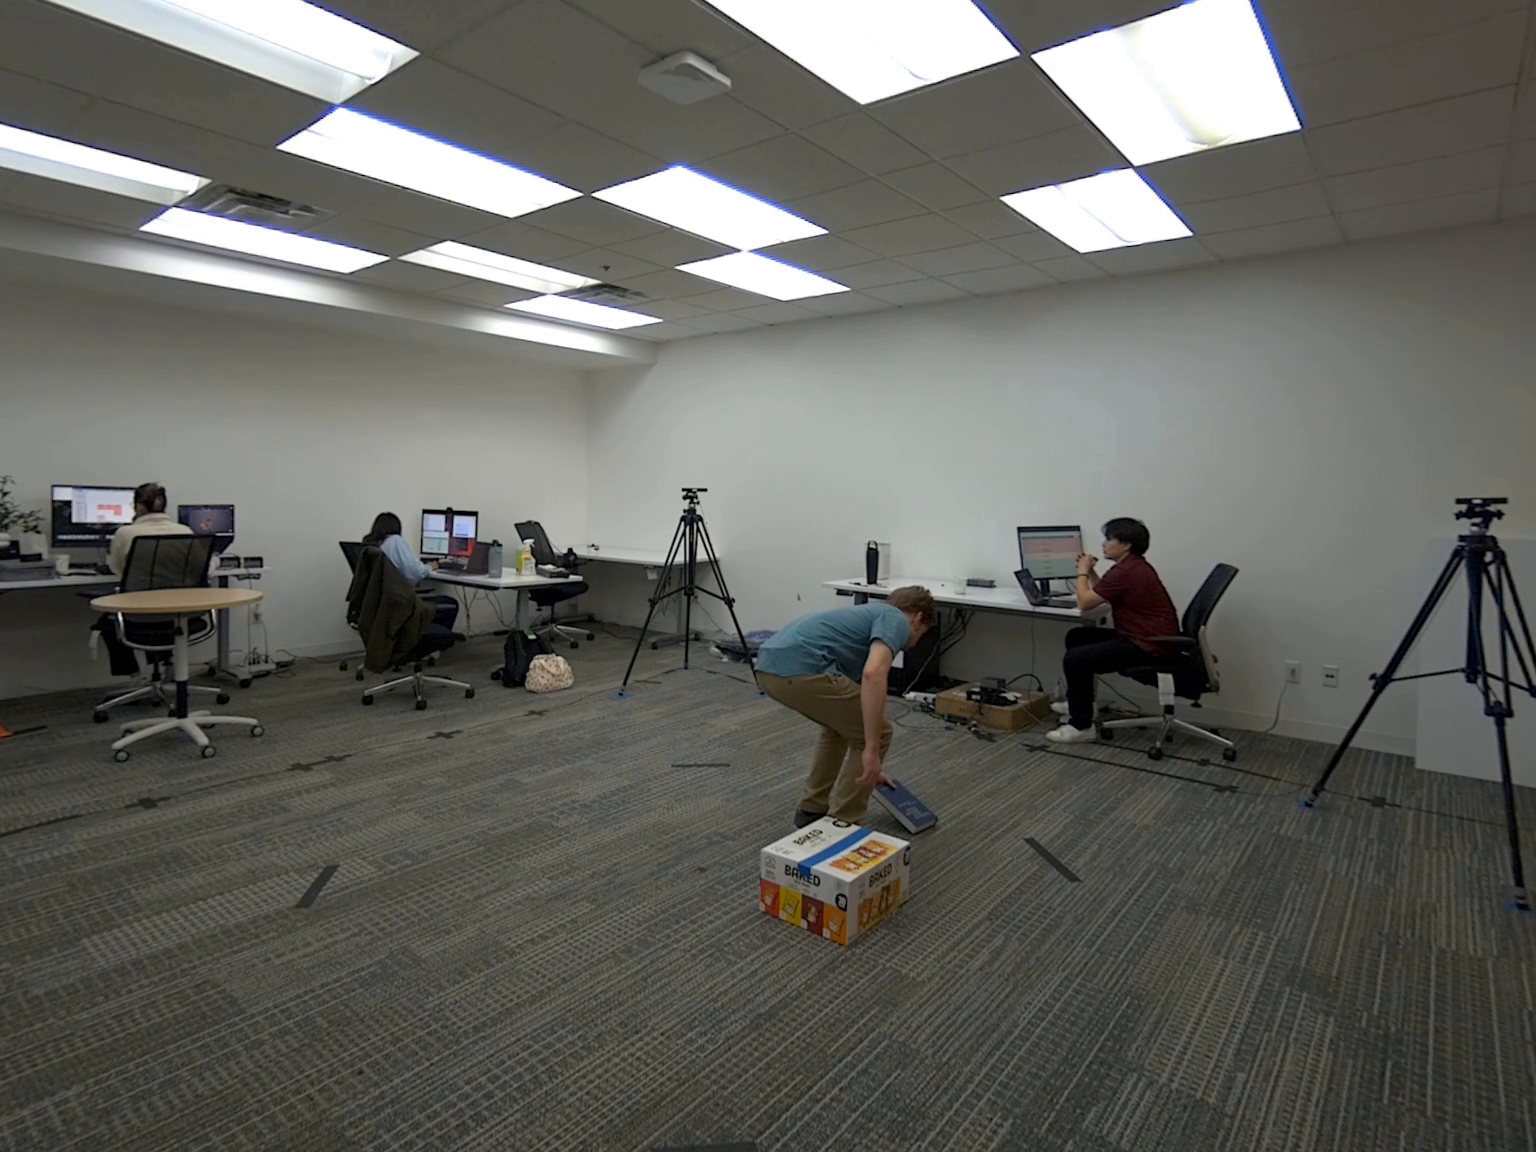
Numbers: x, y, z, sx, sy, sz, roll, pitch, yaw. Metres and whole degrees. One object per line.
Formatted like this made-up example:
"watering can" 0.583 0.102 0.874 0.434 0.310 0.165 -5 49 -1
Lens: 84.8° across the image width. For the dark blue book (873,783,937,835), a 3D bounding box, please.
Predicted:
"dark blue book" 0.568 0.970 3.583 0.158 0.044 0.255 -5 34 -44
